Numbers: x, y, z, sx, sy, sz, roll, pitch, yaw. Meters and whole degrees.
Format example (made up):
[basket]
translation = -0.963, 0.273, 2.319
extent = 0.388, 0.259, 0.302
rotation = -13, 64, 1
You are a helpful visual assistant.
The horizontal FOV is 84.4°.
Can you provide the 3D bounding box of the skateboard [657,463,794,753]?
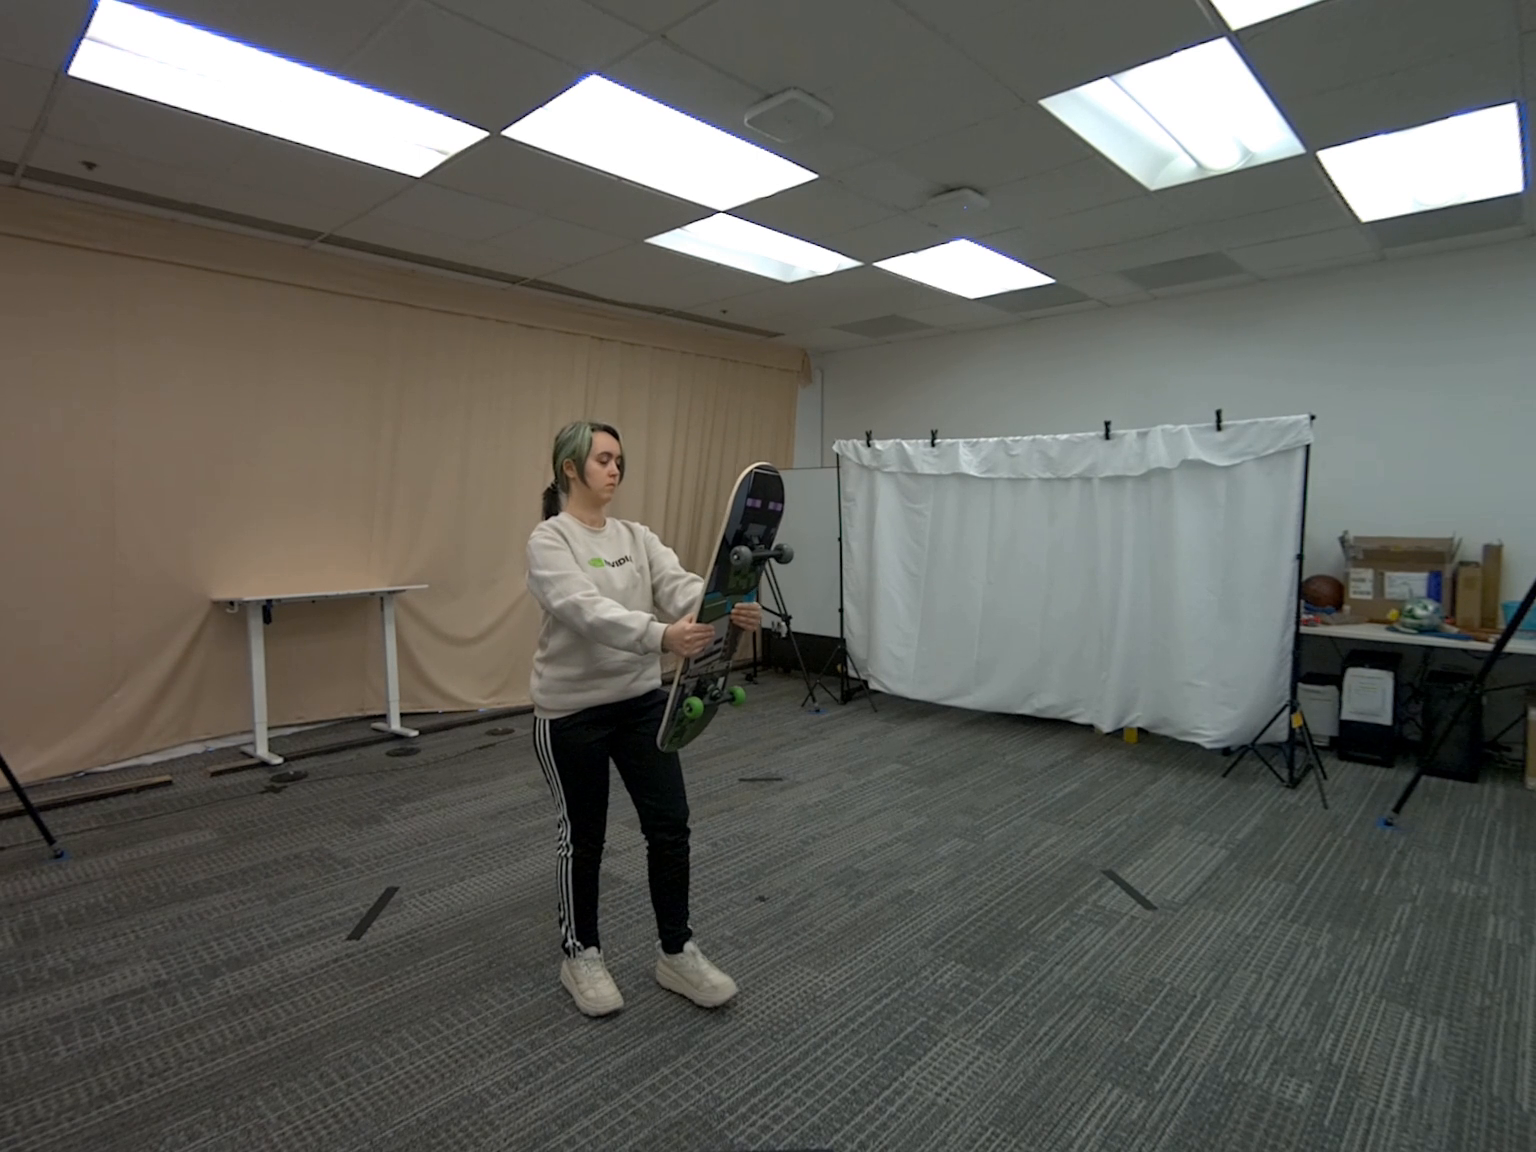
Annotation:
[skateboard]
translation = -0.089, 0.118, 2.018
extent = 0.114, 0.782, 0.187
rotation = 32, 22, 35
